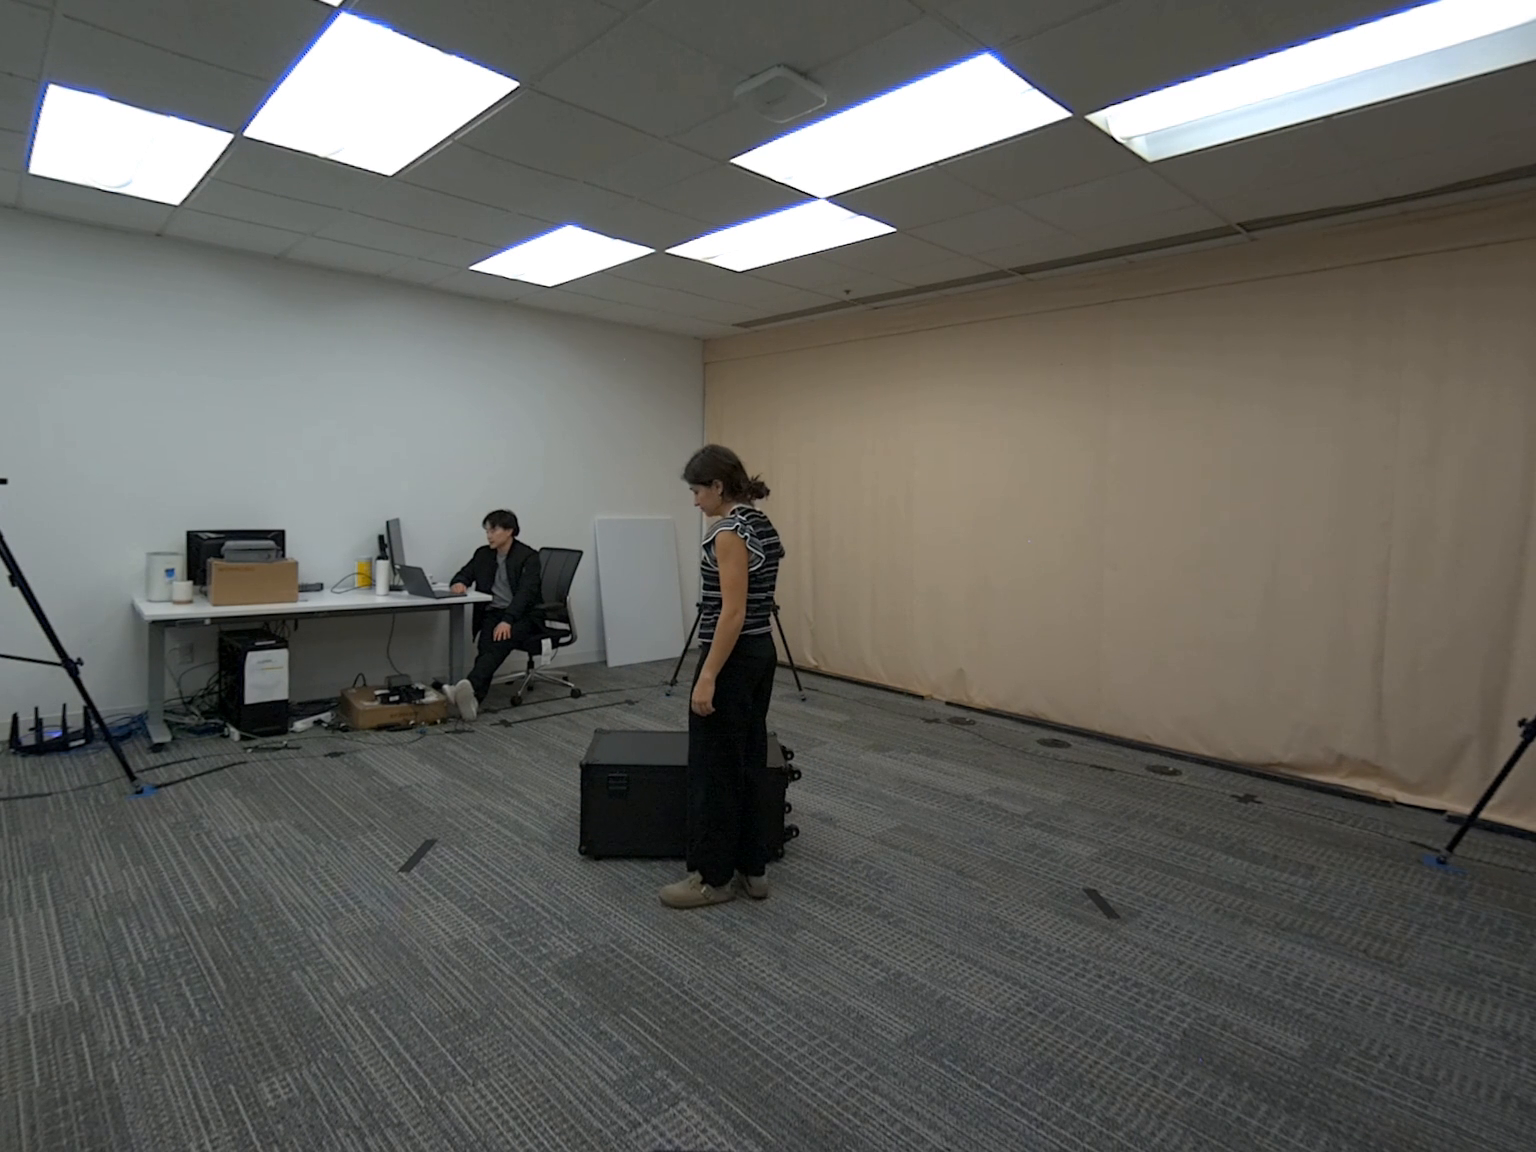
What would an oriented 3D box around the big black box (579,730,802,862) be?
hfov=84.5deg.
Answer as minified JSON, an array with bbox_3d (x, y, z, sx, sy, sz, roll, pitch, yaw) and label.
[{"bbox_3d":[-0.316,0.880,3.433,0.859,0.395,0.524,1,5,-4],"label":"big black box"}]
